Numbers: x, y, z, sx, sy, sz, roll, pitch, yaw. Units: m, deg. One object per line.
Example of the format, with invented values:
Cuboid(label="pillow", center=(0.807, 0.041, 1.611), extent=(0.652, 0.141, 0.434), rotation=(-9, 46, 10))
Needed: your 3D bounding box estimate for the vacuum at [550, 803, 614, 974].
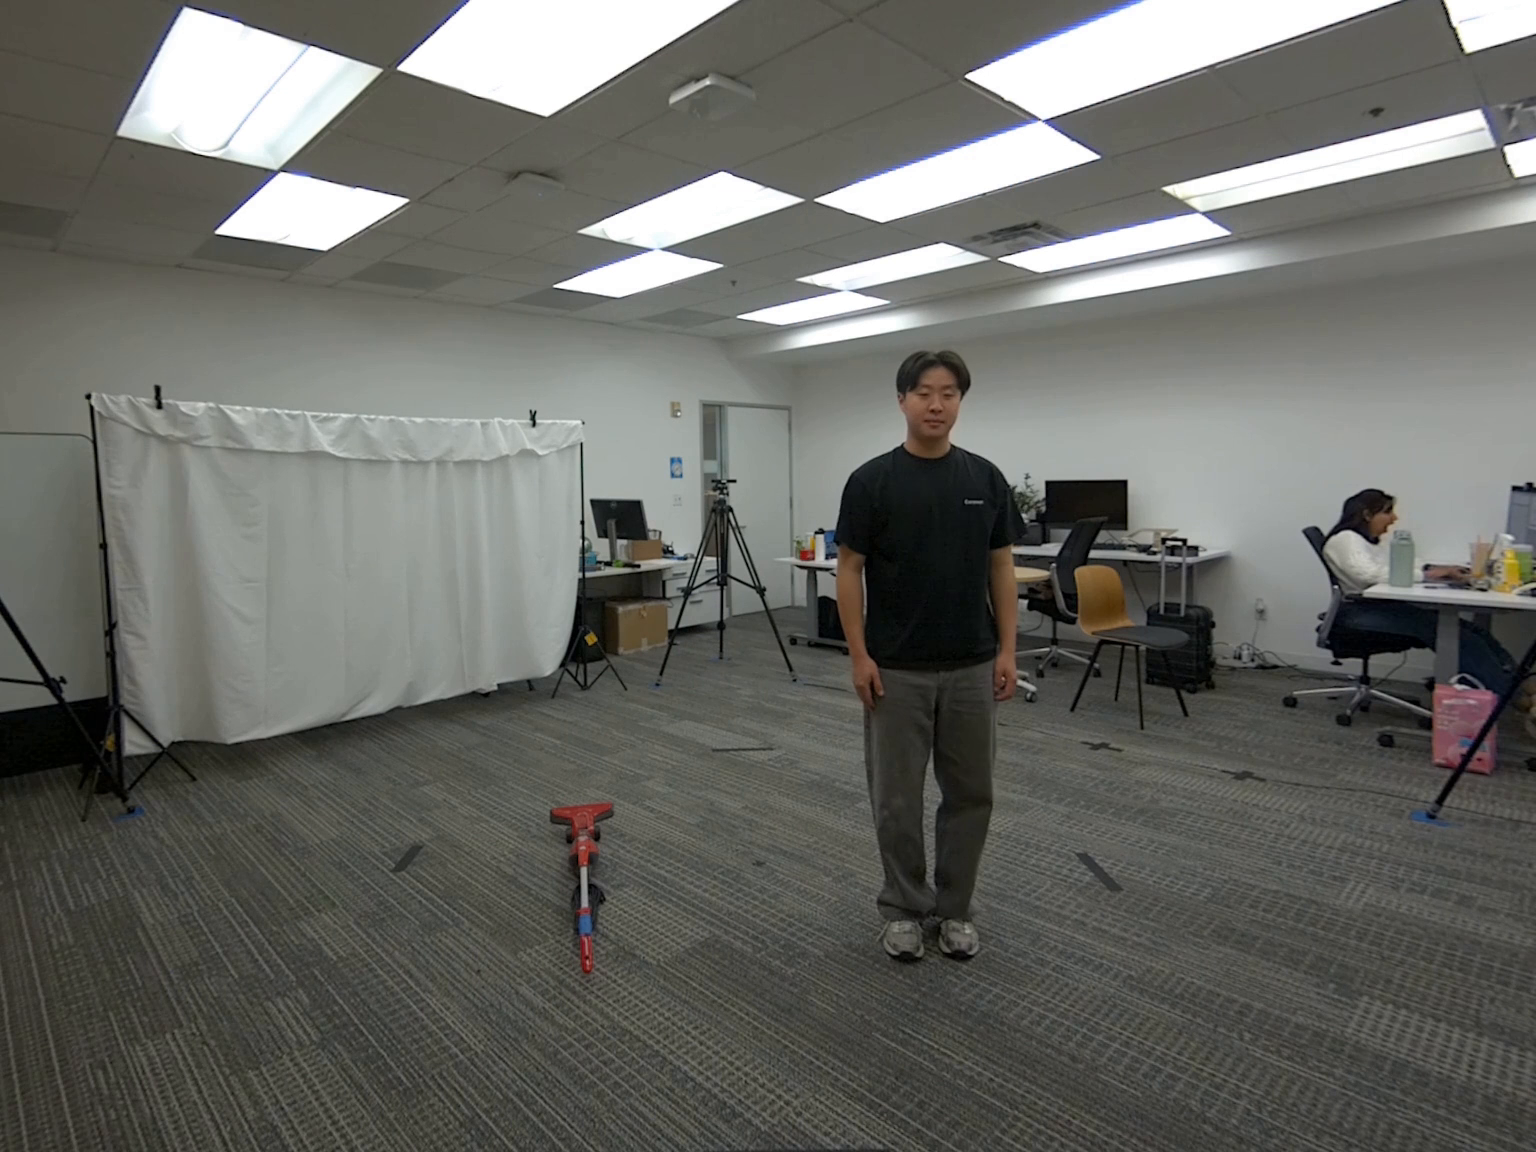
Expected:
Cuboid(label="vacuum", center=(-0.614, 1.030, 2.857), extent=(0.250, 0.143, 1.065), rotation=(-5, 8, -11))
